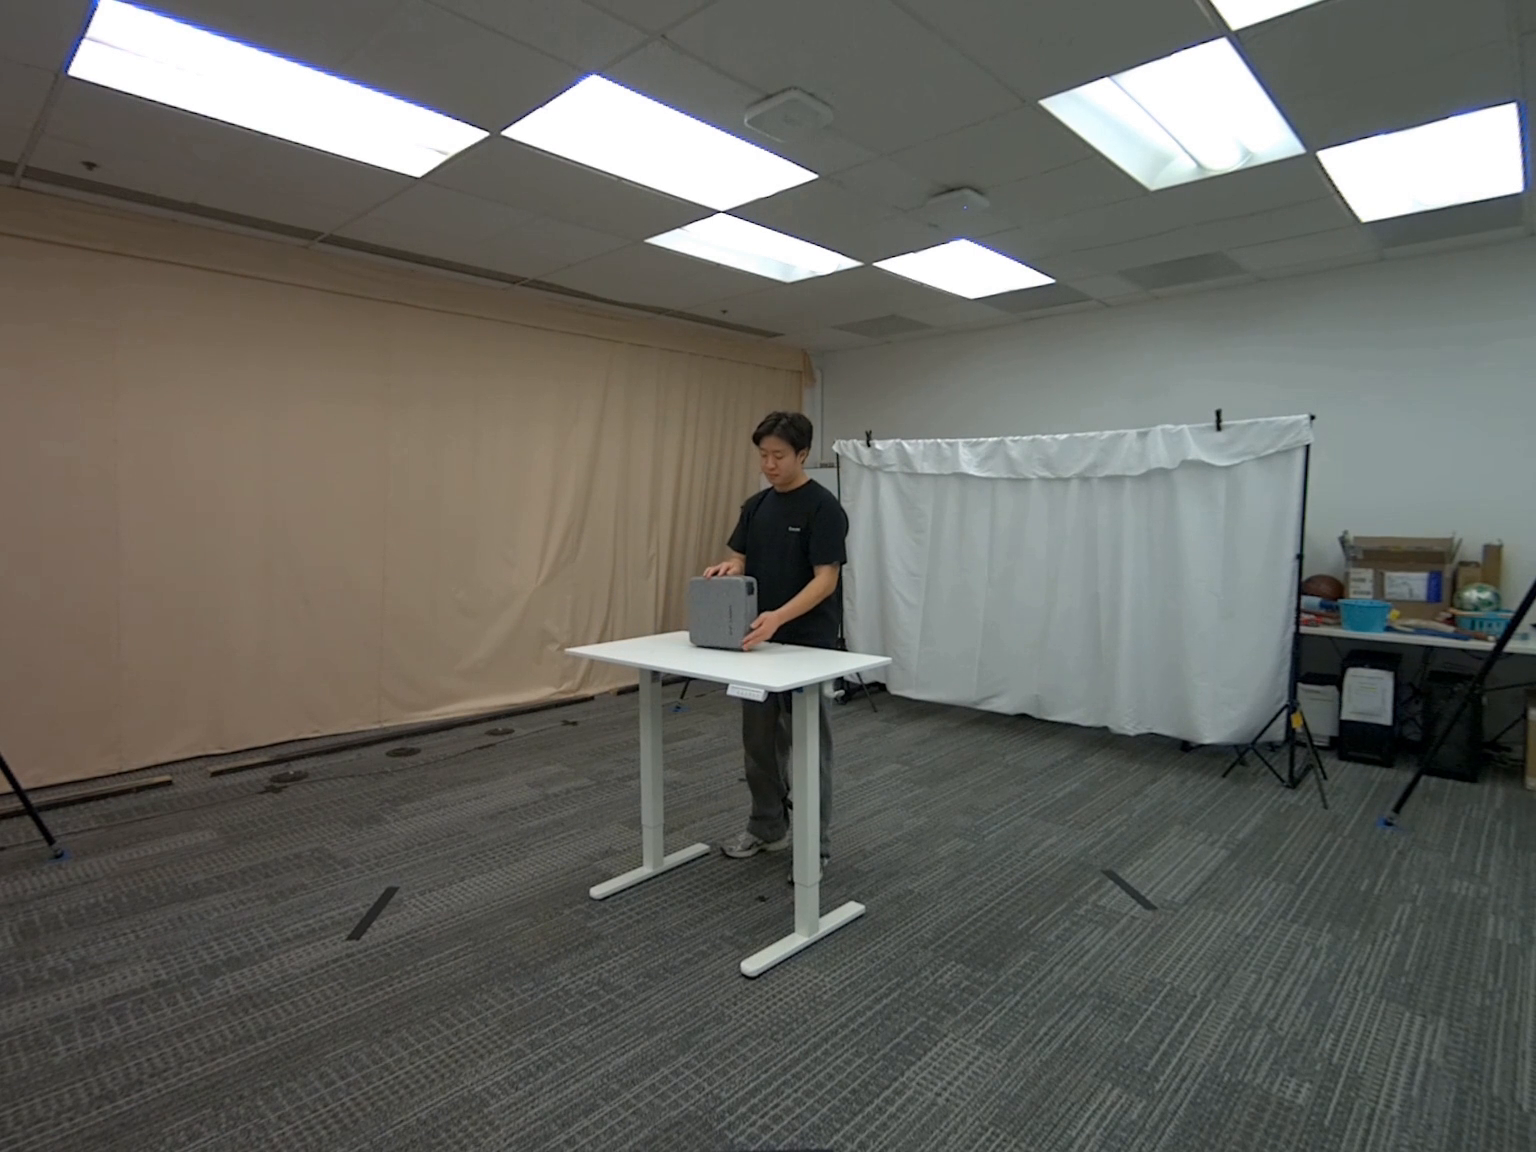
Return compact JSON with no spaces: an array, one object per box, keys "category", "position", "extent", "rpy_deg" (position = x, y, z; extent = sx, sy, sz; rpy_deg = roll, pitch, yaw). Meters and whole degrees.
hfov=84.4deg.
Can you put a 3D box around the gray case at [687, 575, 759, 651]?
[{"category":"gray case","position":[-0.163,0.129,3.020],"extent":[0.268,0.257,0.101],"rpy_deg":[-1,-1,34]}]
